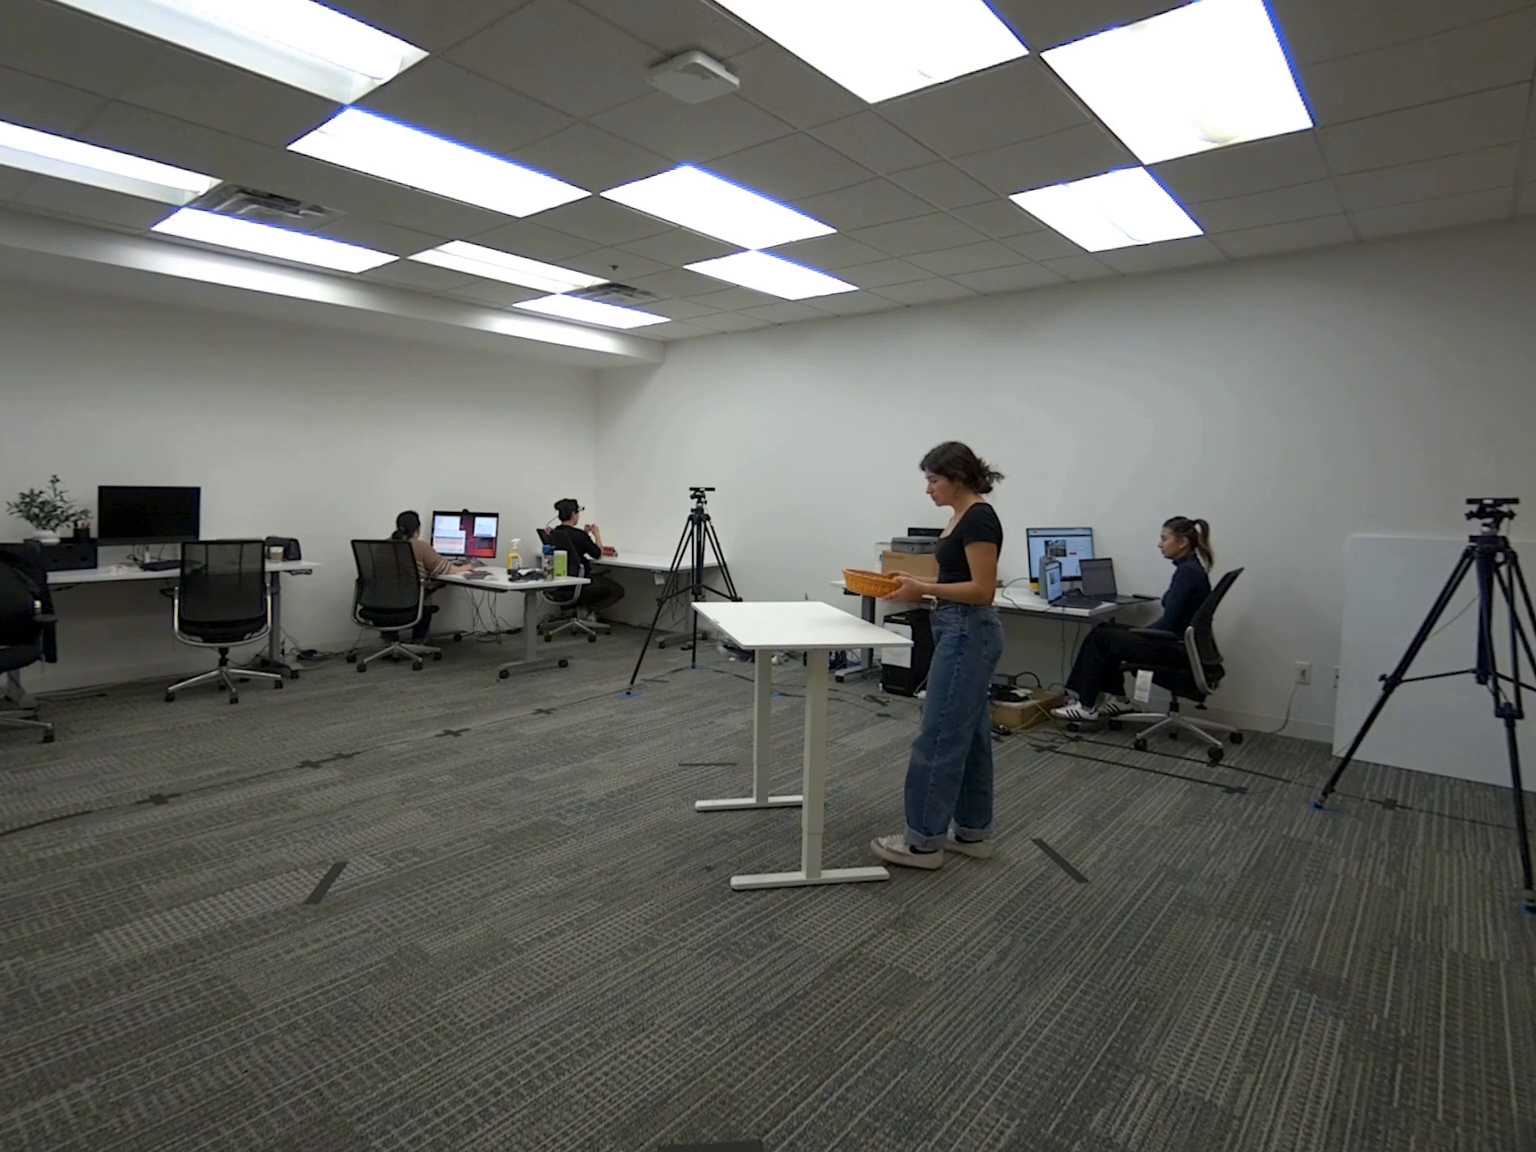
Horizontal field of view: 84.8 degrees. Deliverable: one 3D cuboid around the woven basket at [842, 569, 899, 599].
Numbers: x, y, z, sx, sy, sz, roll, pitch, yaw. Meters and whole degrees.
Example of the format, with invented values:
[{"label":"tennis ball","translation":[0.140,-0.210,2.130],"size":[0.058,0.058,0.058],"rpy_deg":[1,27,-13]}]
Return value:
[{"label":"woven basket","translation":[0.441,0.043,3.264],"size":[0.360,0.073,0.247],"rpy_deg":[12,7,22]}]
